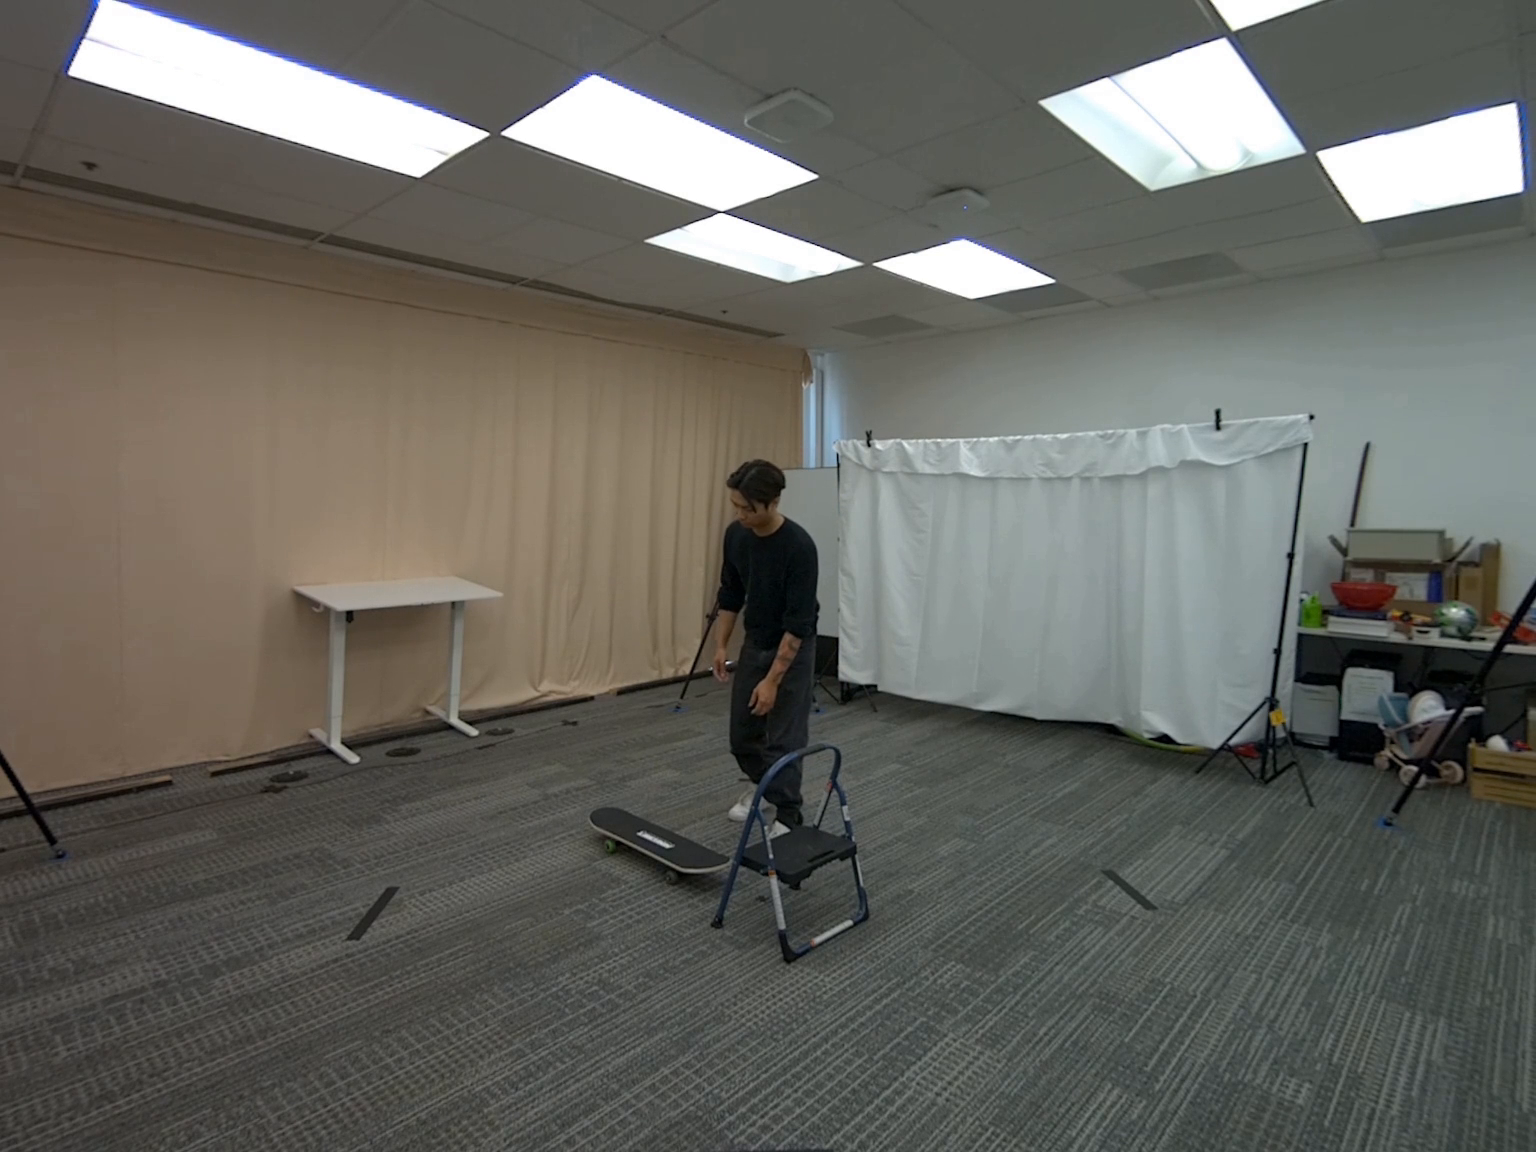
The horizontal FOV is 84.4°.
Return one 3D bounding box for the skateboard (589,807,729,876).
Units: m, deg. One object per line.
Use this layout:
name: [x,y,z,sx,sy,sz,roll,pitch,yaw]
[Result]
skateboard: [-0.443,1.066,3.304,0.187,0.110,0.812,-4,6,-43]
